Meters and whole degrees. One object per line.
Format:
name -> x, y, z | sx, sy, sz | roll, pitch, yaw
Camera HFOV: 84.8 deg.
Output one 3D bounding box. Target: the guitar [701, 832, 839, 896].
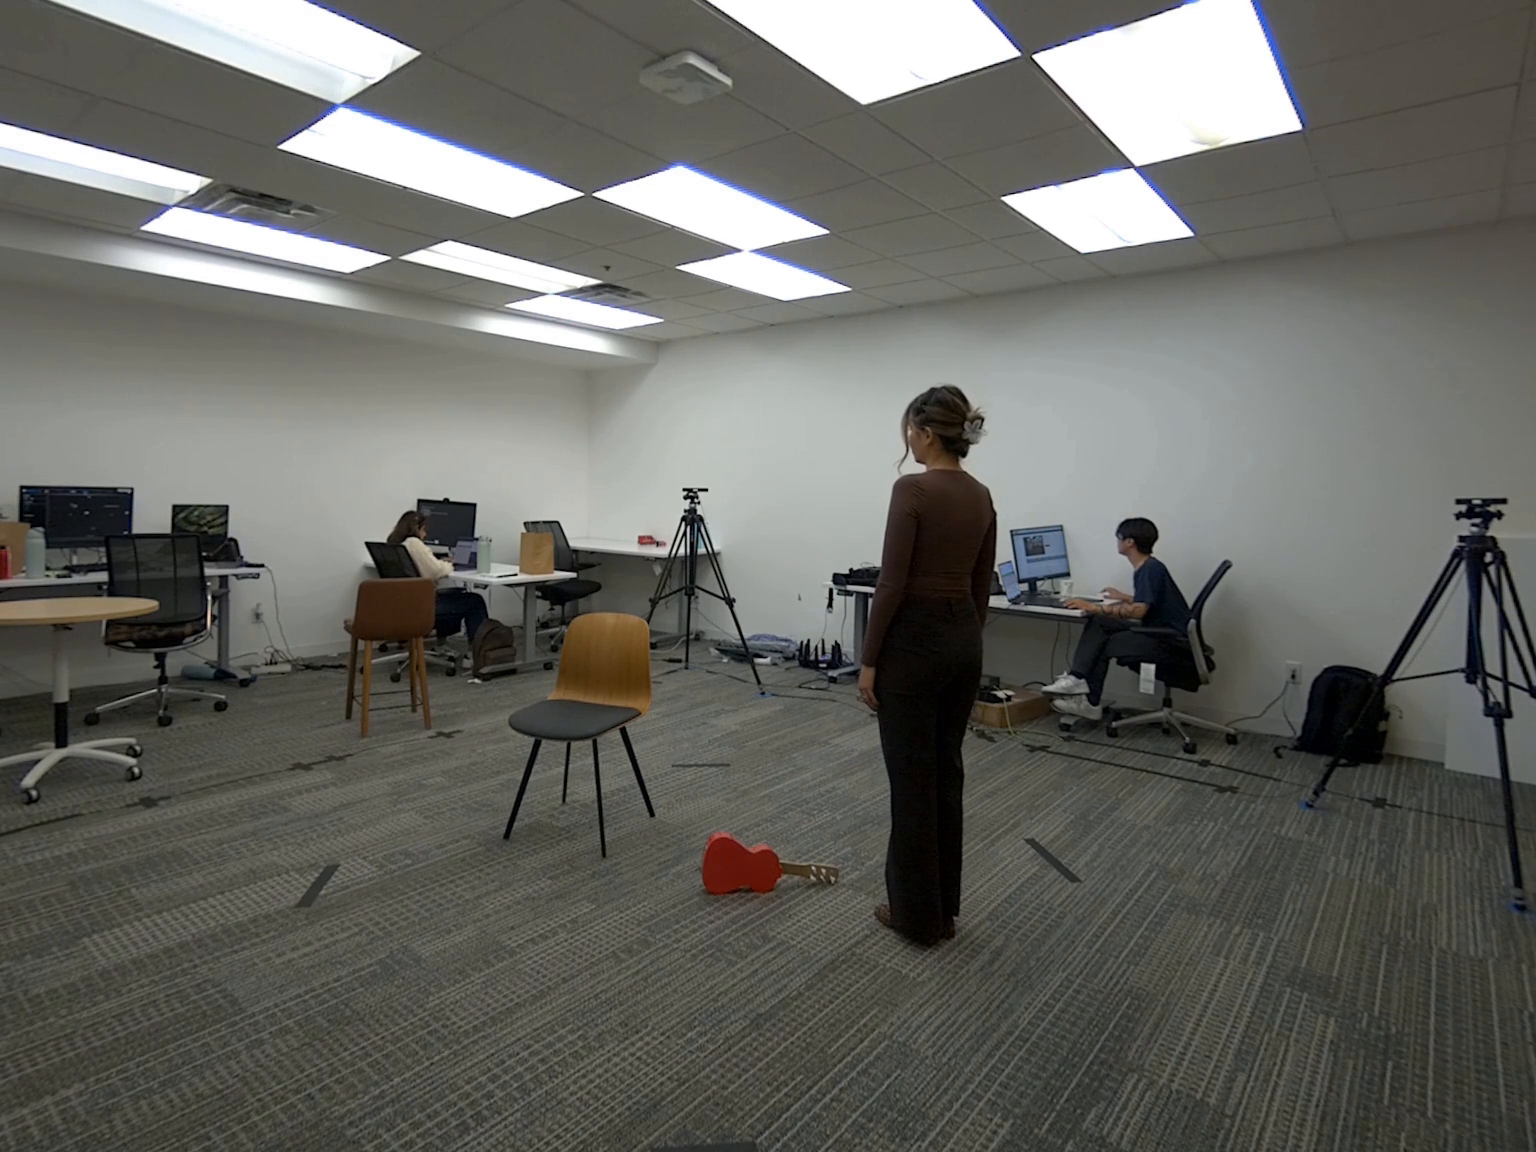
guitar -> 0.008, 0.995, 2.977 | 0.493, 0.193, 0.071 | 1, -1, -9
